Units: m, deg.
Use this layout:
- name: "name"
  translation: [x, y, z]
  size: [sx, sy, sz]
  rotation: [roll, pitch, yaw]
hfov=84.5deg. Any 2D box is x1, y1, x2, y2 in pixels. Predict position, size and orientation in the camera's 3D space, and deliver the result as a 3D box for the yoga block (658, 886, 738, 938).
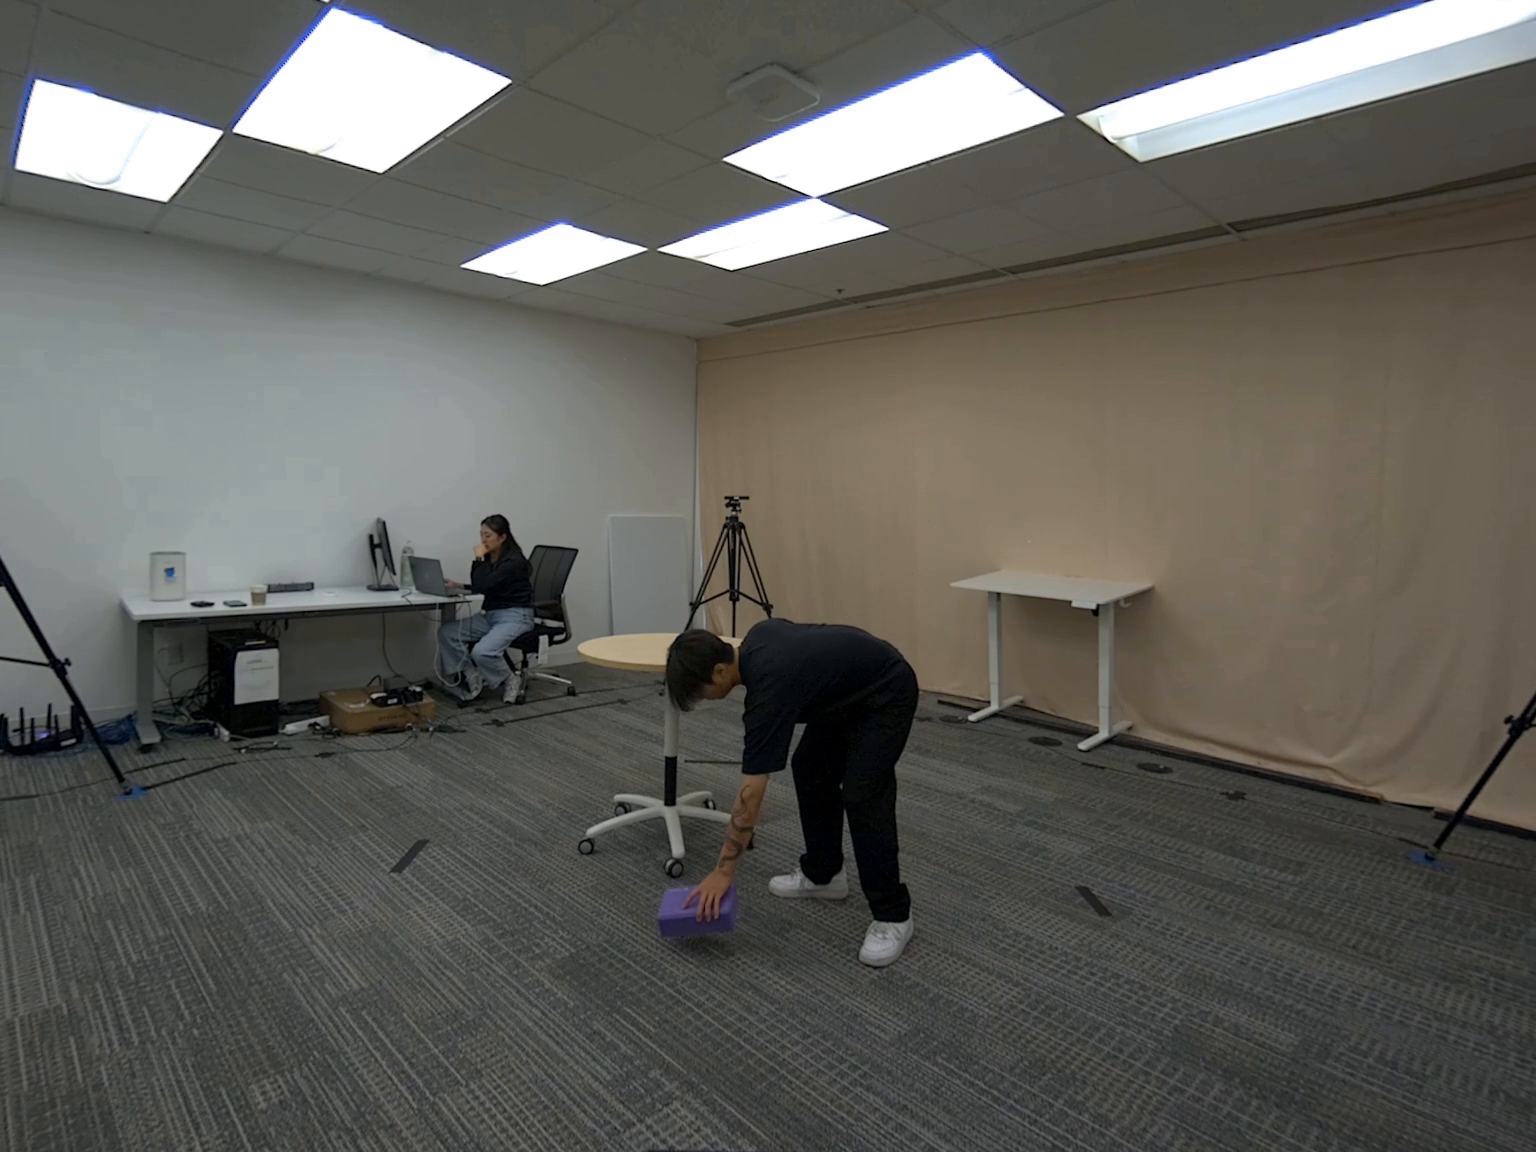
- name: "yoga block"
  translation: [-0.219, 1.028, 2.588]
  size: [0.231, 0.075, 0.150]
  rotation: [-6, 16, 7]
